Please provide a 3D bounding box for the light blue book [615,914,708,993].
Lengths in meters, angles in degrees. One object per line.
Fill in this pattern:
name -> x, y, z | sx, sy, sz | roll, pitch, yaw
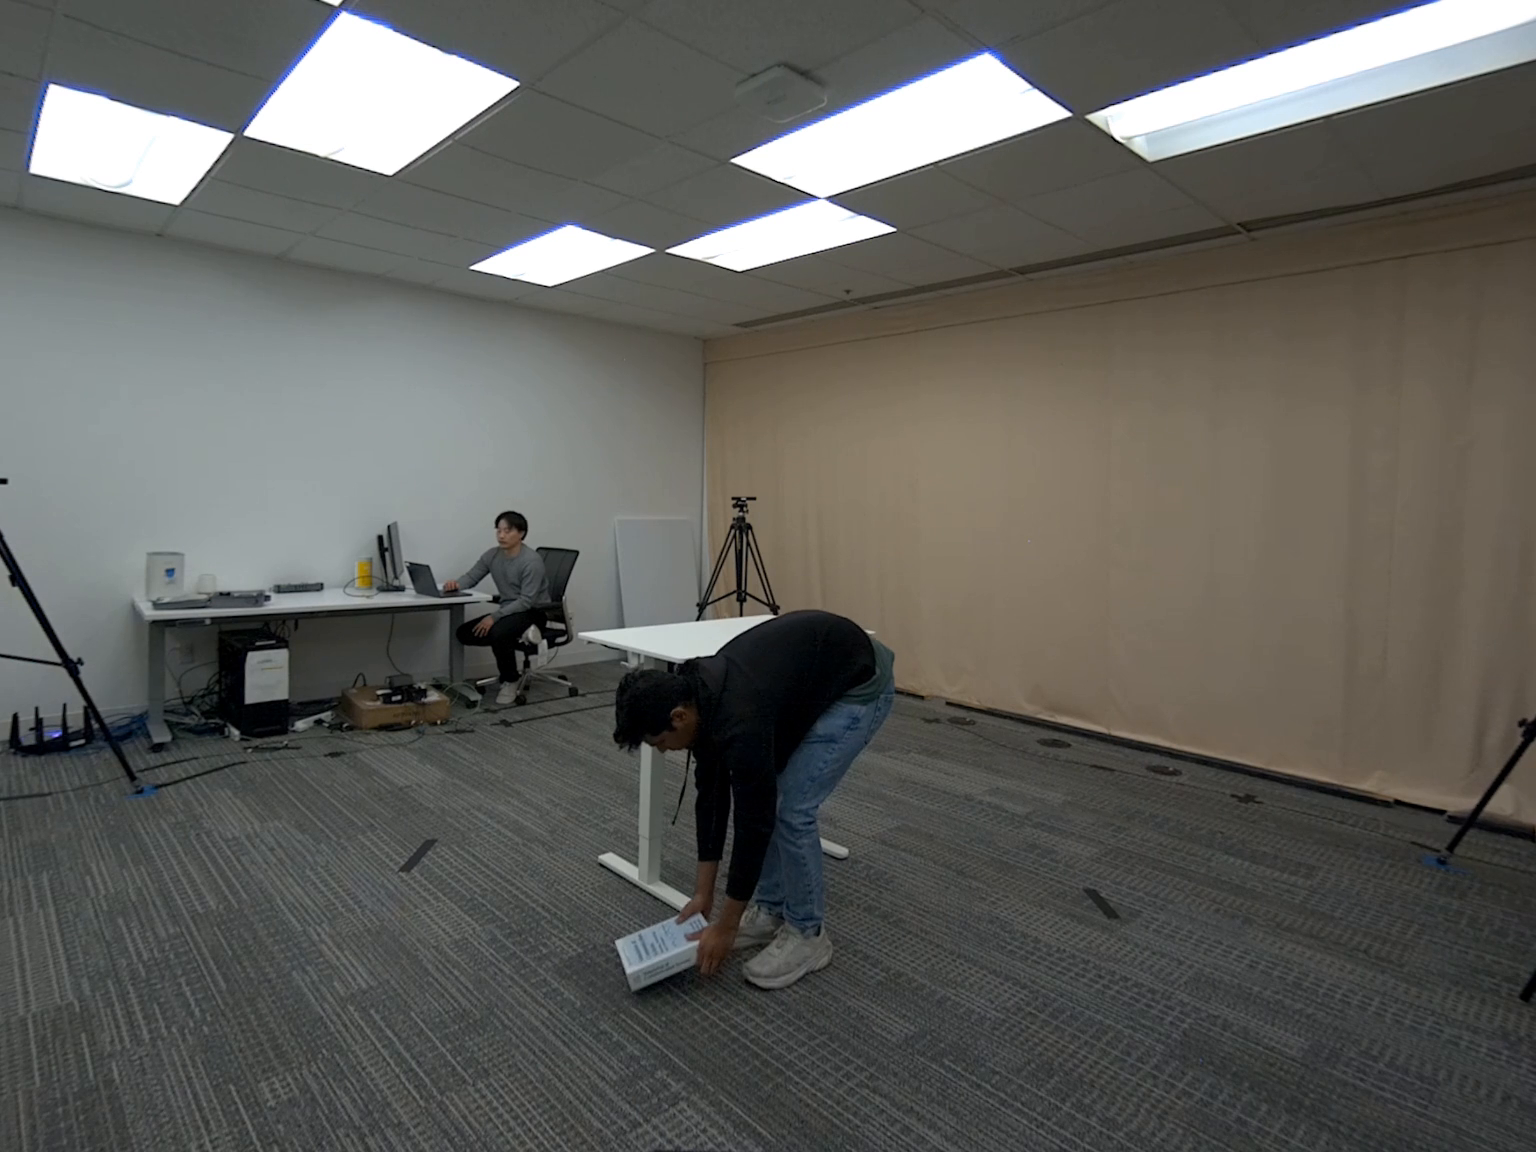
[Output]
light blue book -> -0.295, 1.060, 2.407 | 0.258, 0.059, 0.194 | -13, 7, -16
